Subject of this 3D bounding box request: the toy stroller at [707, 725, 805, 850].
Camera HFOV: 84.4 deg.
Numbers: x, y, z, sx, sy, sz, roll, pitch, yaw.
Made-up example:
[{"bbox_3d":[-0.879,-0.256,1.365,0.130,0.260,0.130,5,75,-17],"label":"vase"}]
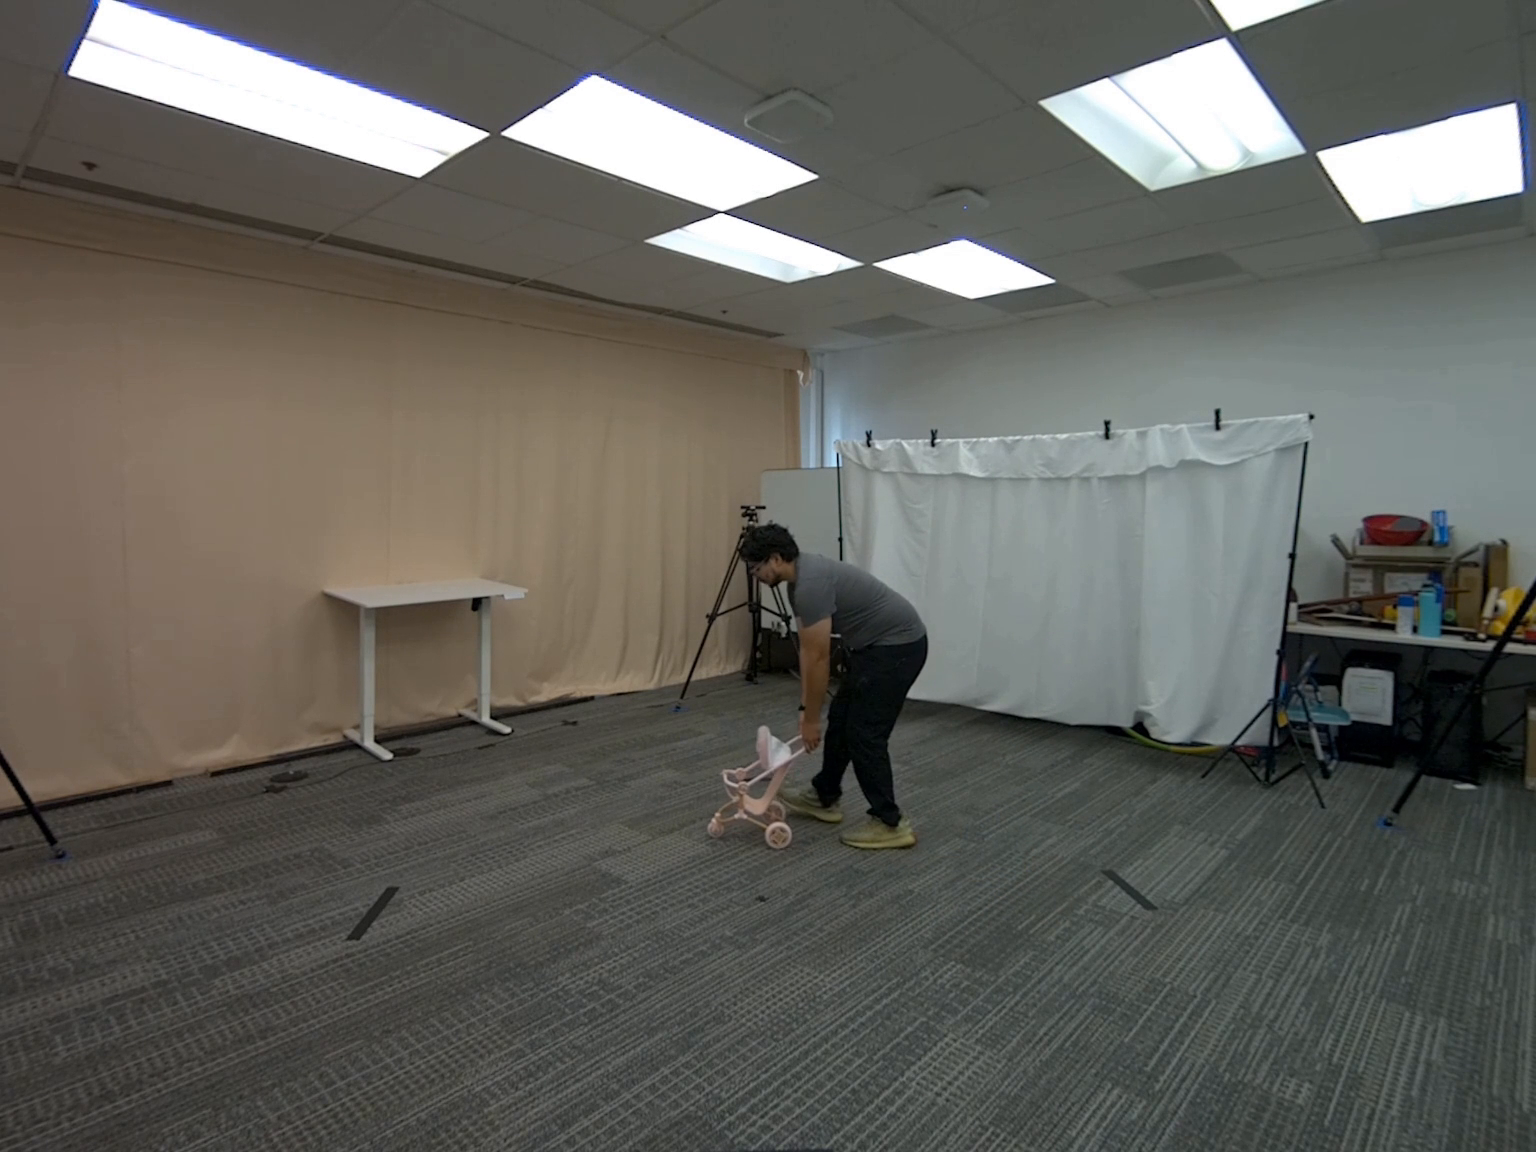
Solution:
[{"bbox_3d":[-0.029,0.873,3.537,0.342,0.534,0.281,15,2,1],"label":"toy stroller"}]
